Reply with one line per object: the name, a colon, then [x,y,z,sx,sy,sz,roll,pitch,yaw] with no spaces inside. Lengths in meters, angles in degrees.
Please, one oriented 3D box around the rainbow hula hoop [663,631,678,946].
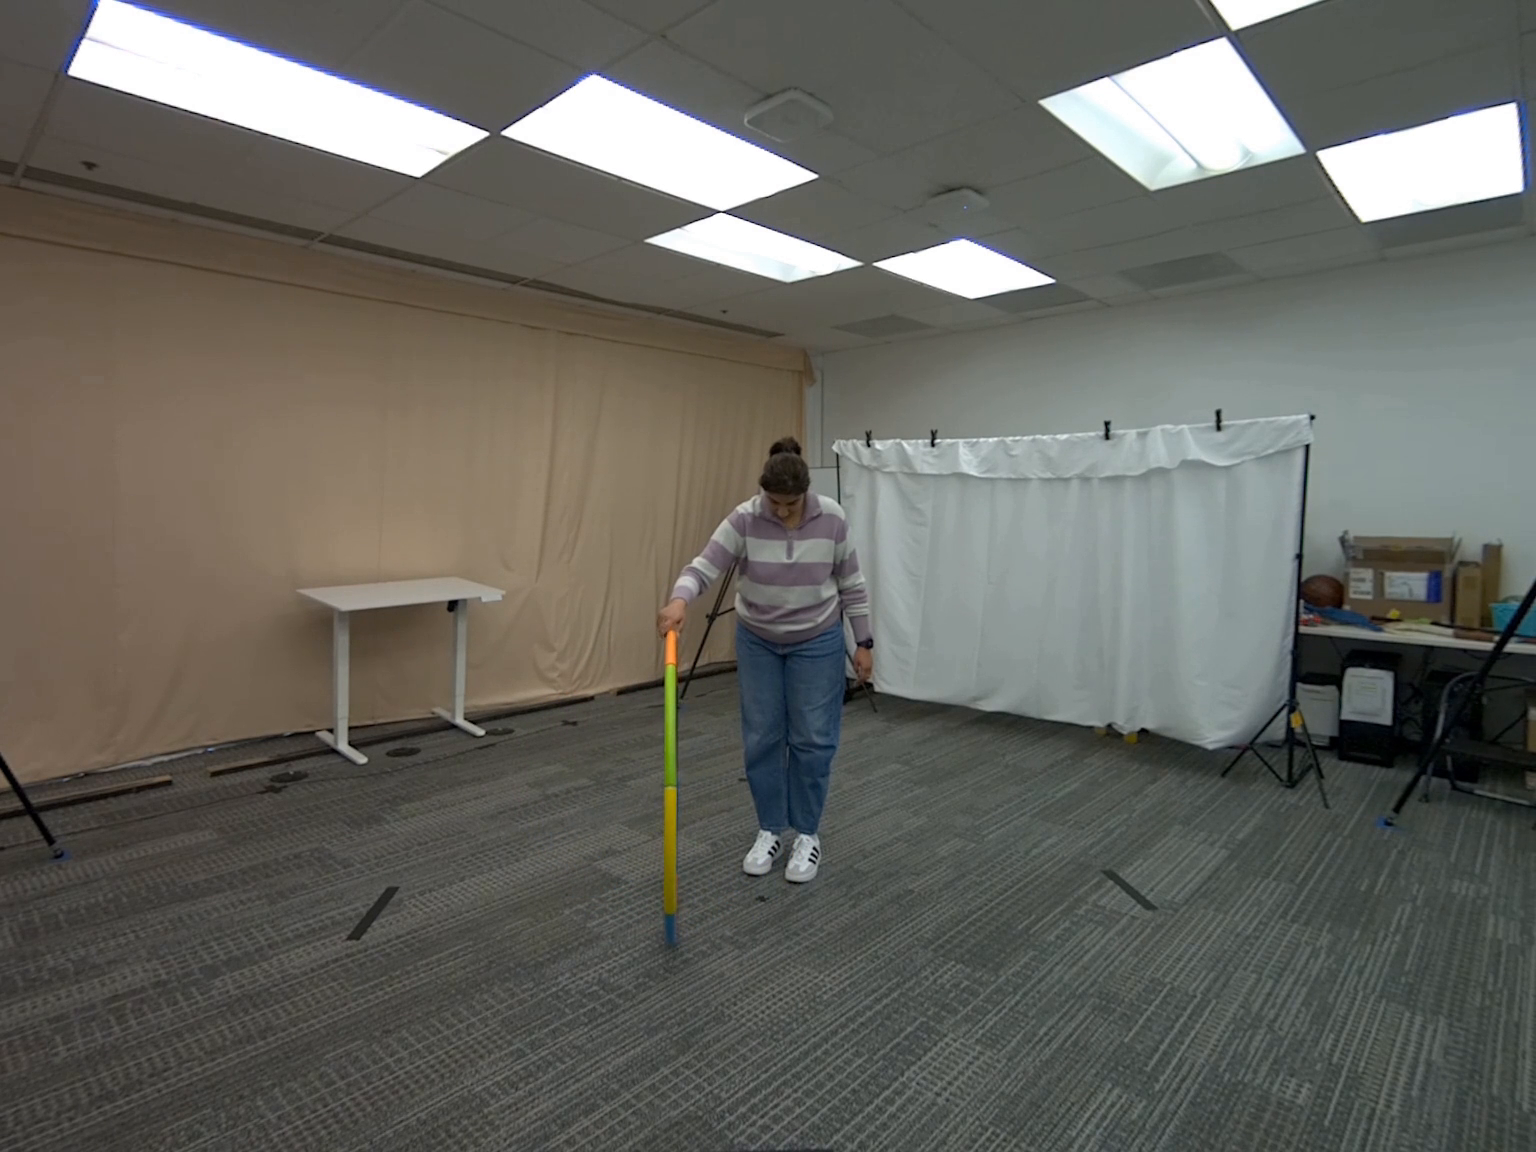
rainbow hula hoop: [-0.307,0.673,2.776,0.035,0.976,0.983,1,4,-4]
